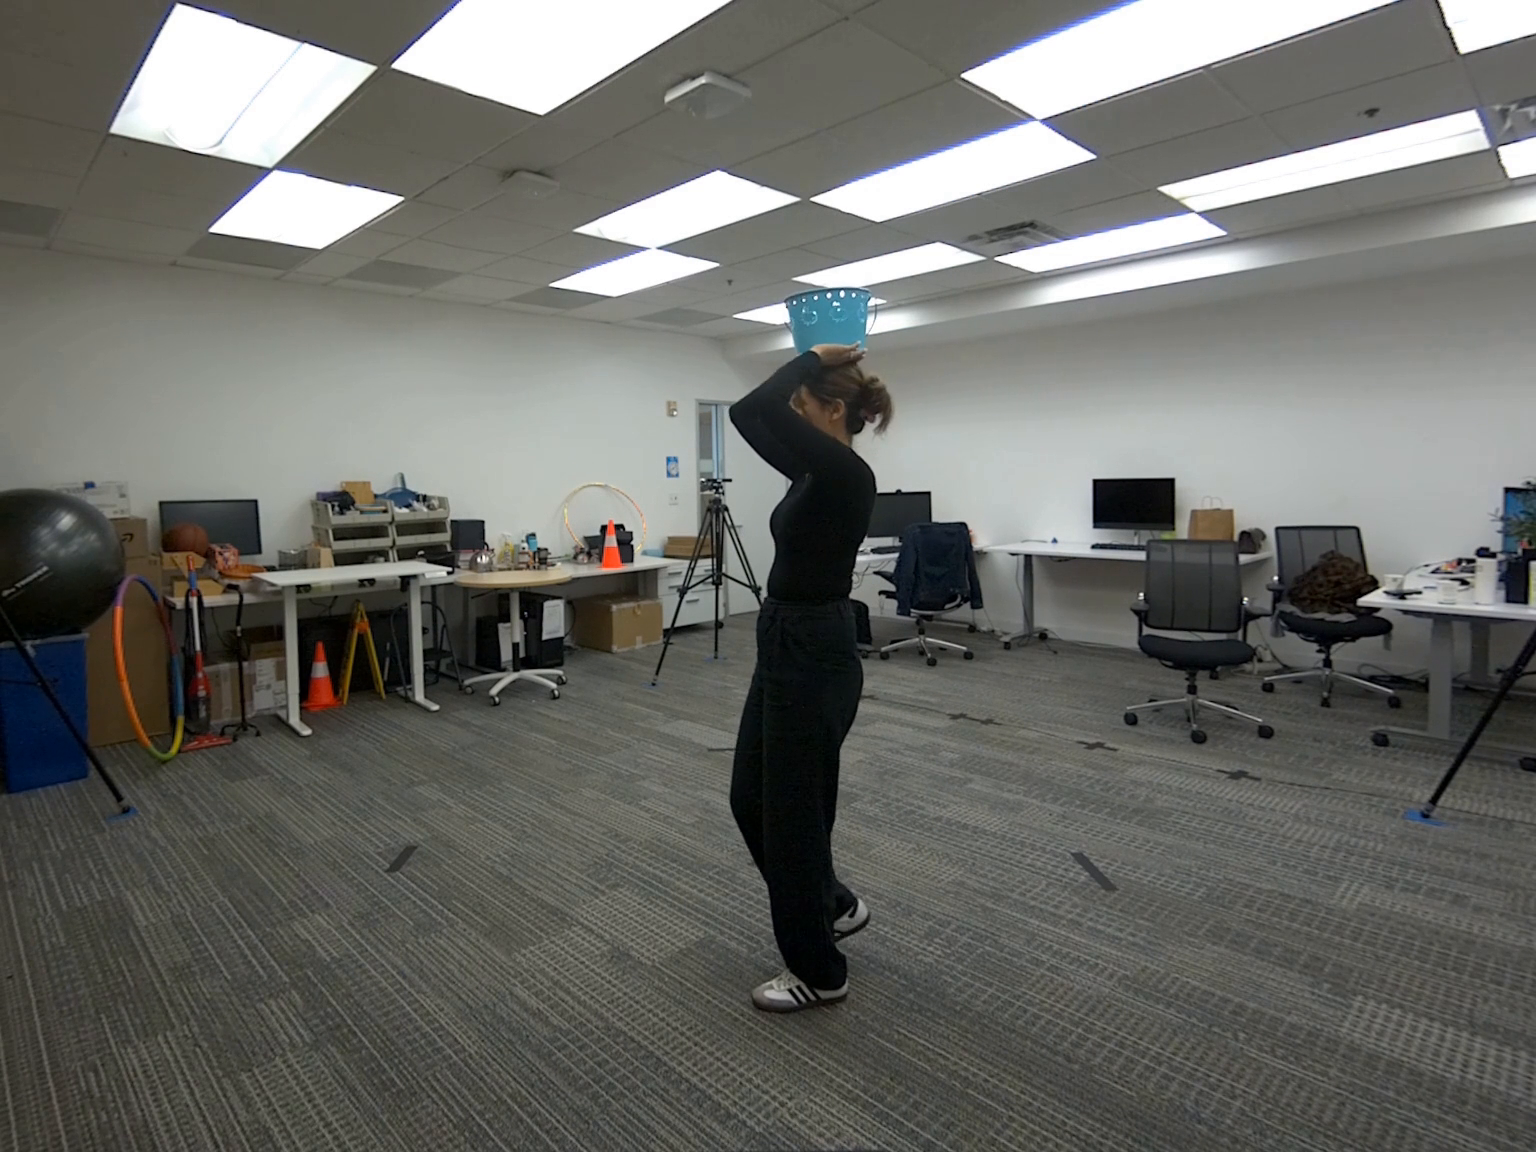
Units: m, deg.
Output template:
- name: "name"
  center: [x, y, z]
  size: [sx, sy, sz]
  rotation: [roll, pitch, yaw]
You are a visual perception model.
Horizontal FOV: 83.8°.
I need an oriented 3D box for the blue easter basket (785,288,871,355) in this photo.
- name: "blue easter basket"
  center: [0.168, -0.657, 2.243]
  size: [0.243, 0.155, 0.245]
  rotation: [-6, 7, -1]
